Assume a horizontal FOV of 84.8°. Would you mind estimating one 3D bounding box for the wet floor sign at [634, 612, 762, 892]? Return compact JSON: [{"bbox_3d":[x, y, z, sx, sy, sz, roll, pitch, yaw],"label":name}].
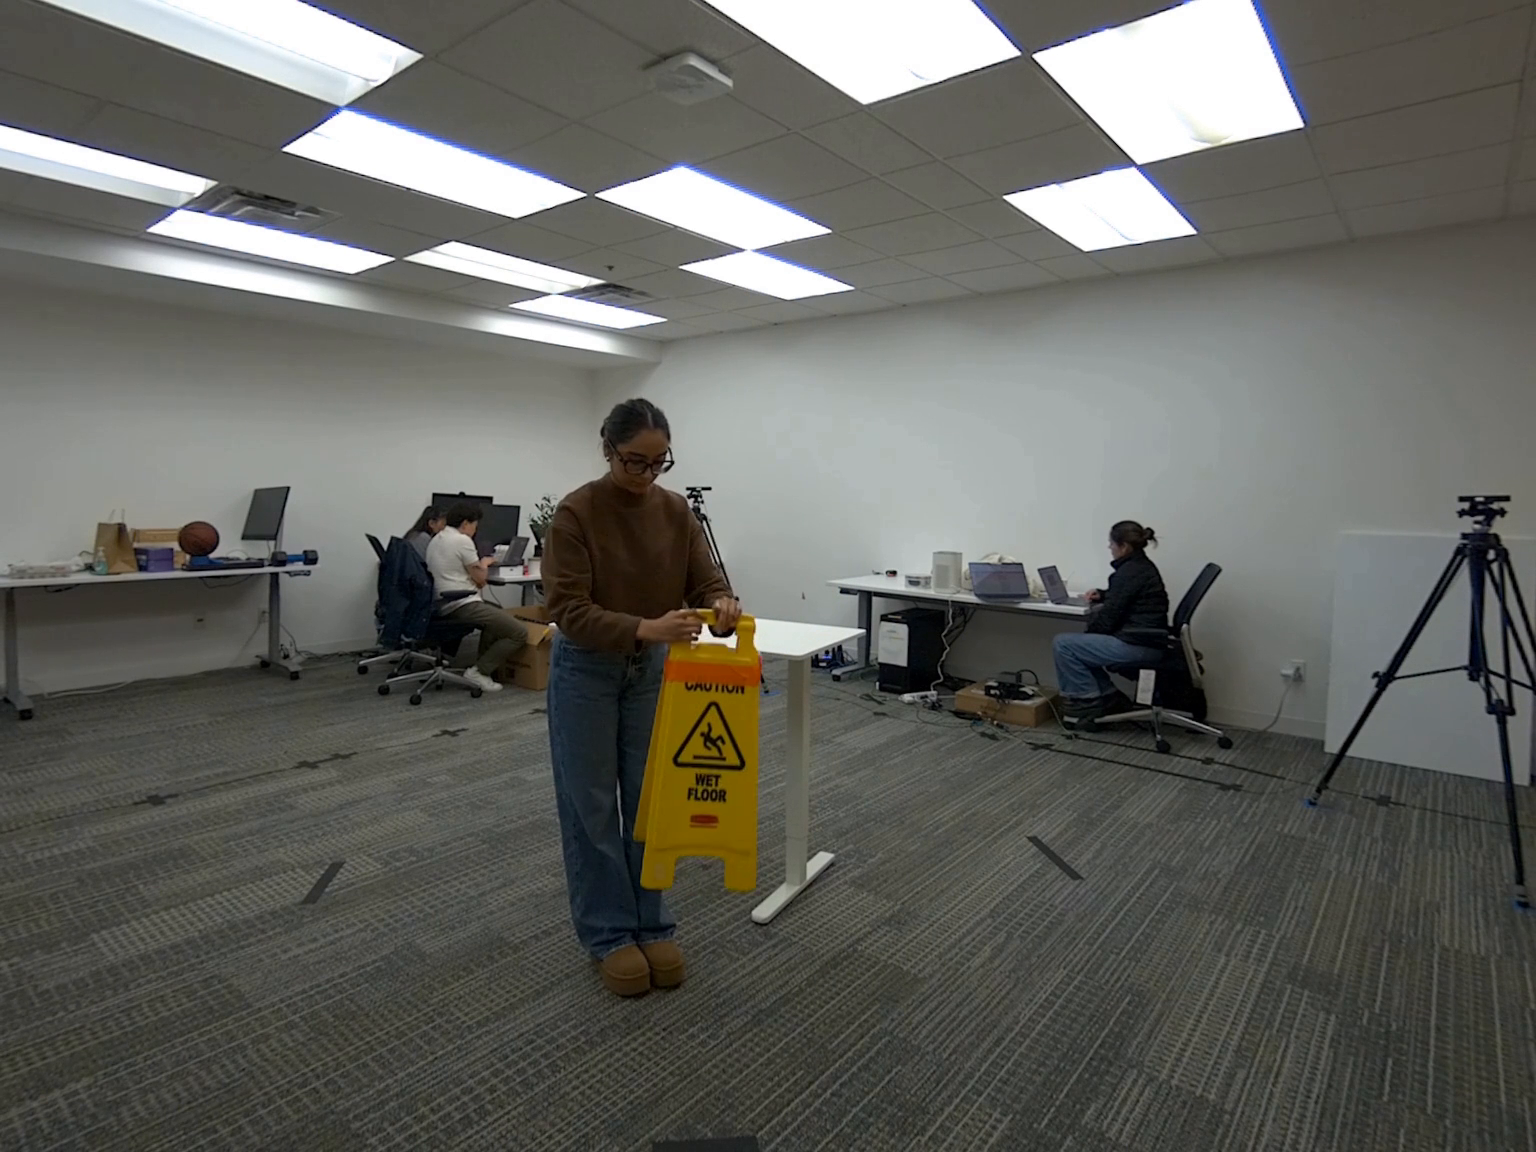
[{"bbox_3d":[-0.169,0.404,2.143,0.279,0.645,0.294,5,2,-11],"label":"wet floor sign"}]
